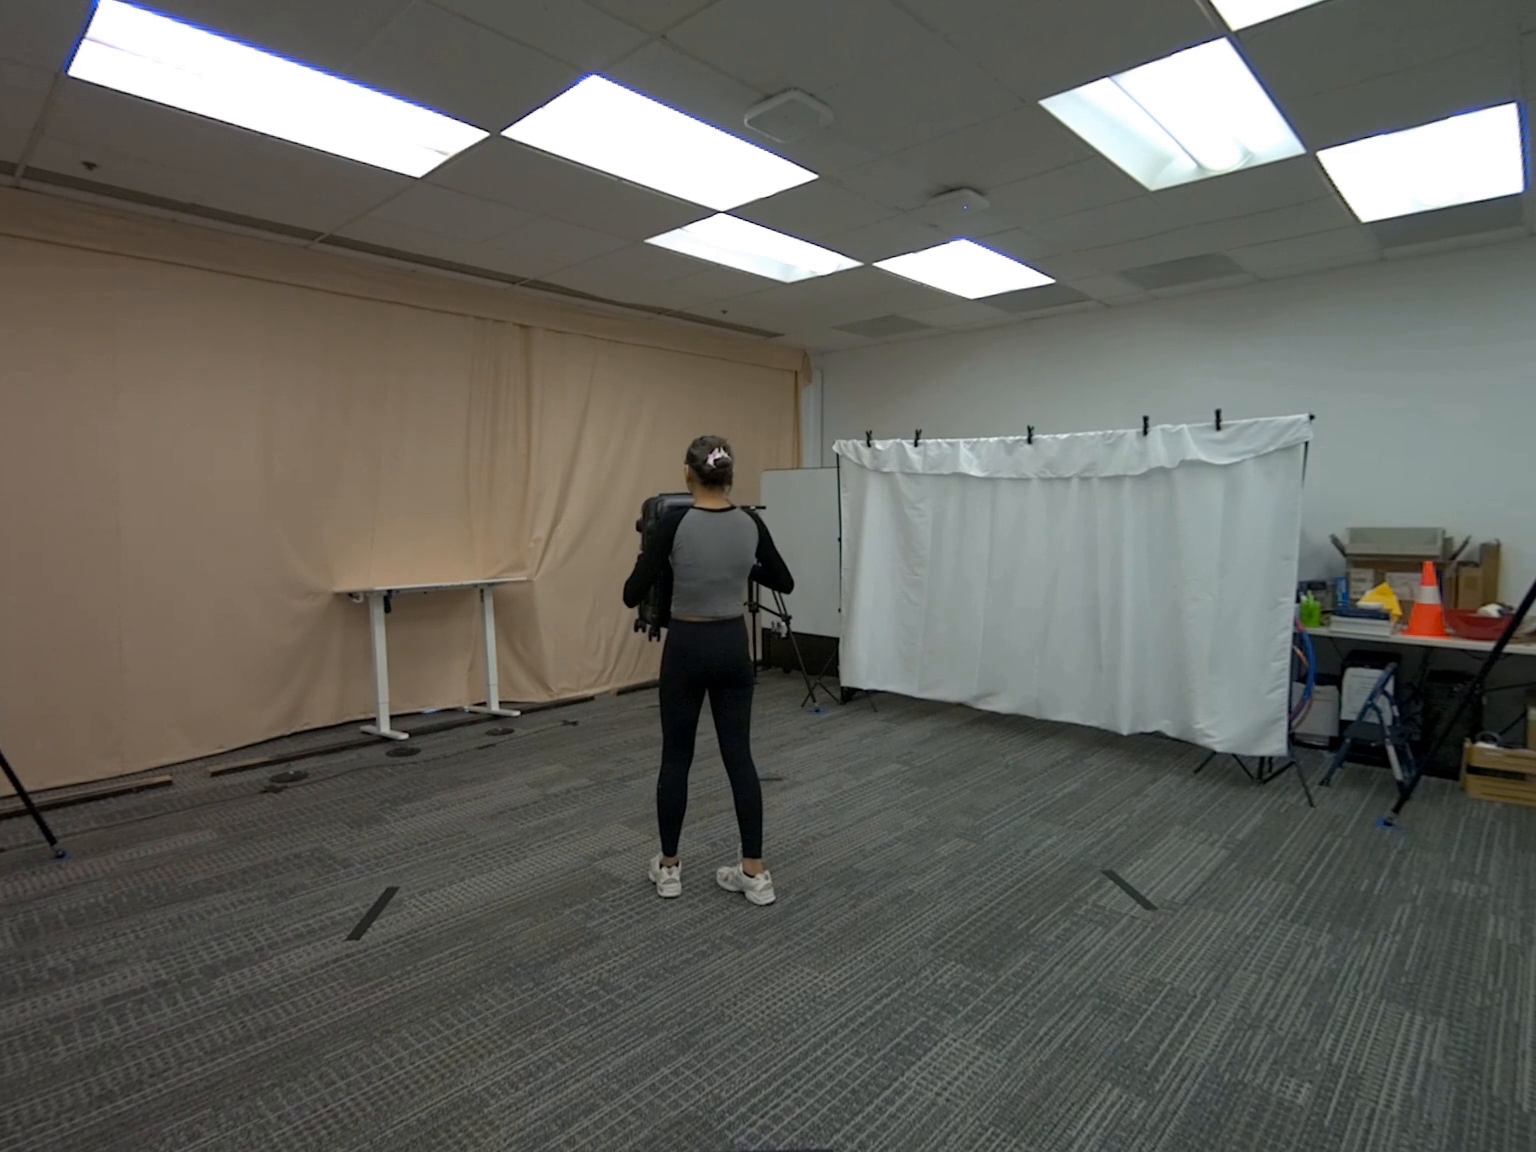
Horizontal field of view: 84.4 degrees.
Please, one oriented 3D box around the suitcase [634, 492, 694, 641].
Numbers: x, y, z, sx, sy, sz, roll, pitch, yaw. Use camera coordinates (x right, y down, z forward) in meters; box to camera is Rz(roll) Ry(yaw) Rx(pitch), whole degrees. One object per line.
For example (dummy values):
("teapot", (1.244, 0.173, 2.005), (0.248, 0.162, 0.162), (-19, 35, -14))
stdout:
("suitcase", (-0.308, -0.044, 3.241), (0.368, 0.548, 0.254), (1, 5, -20))
